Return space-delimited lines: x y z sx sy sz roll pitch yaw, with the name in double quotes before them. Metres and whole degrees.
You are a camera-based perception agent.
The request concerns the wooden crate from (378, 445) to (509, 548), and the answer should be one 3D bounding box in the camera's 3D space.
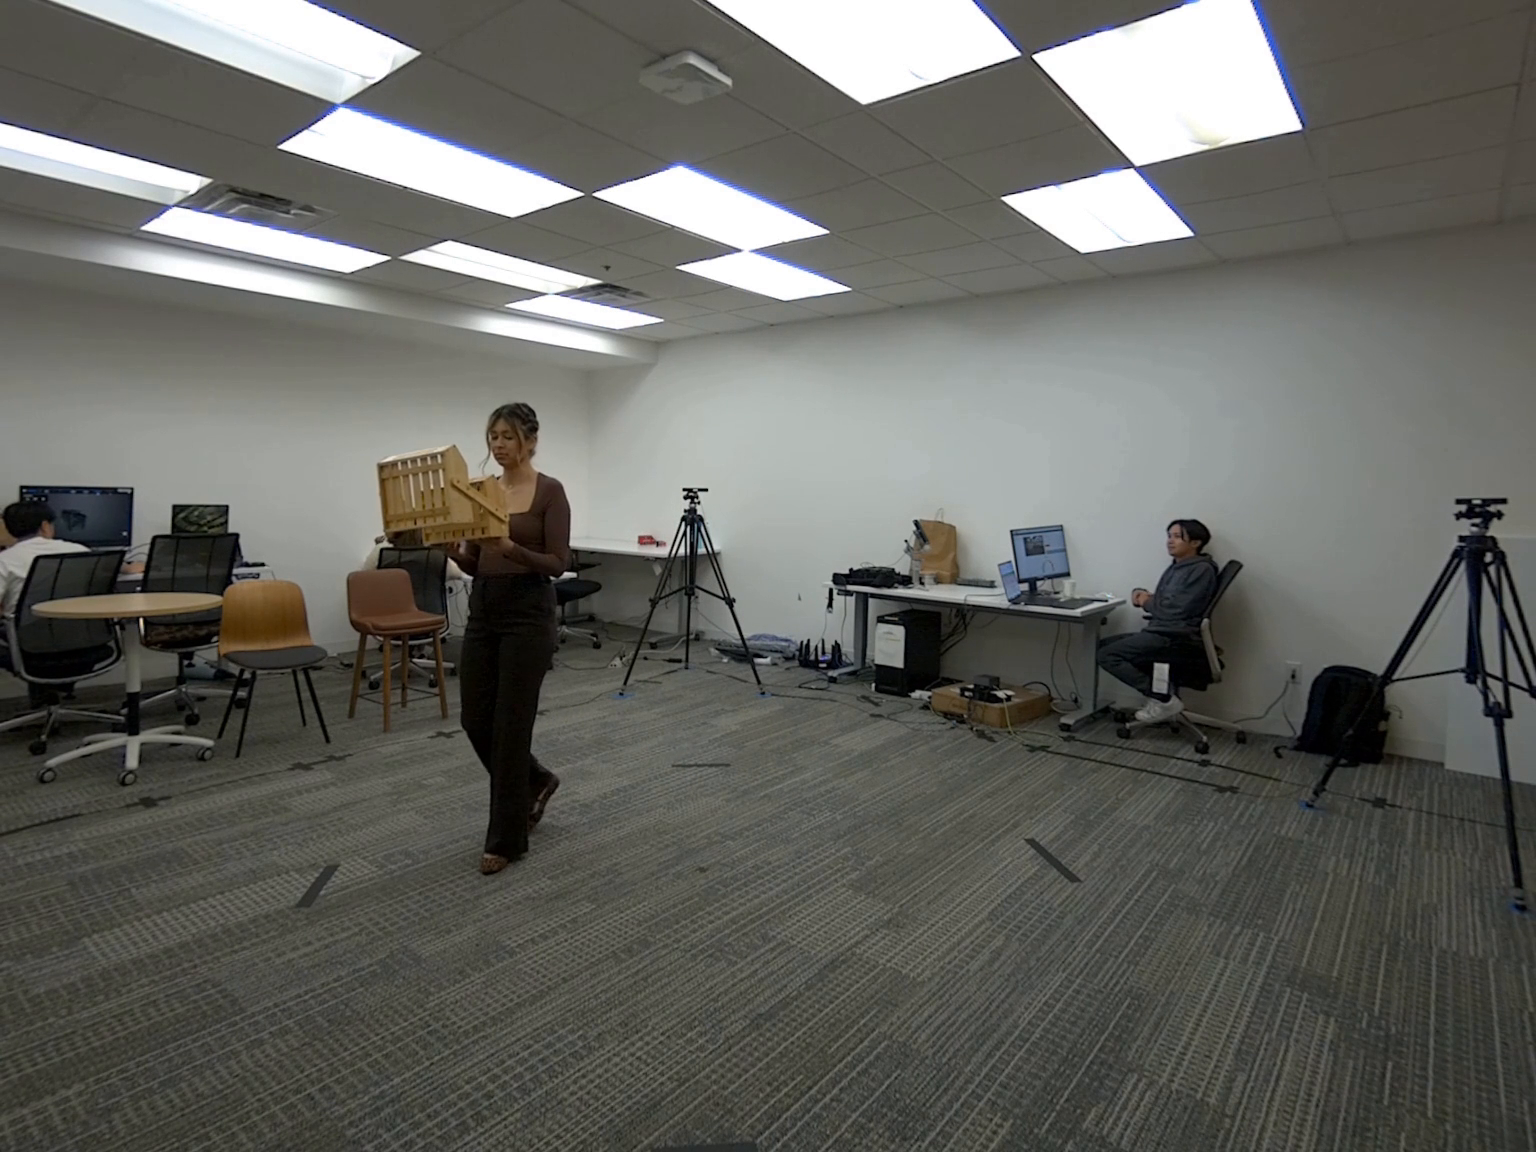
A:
"wooden crate" -1.095 -0.267 2.844 0.332 0.302 0.267 -5 2 24
